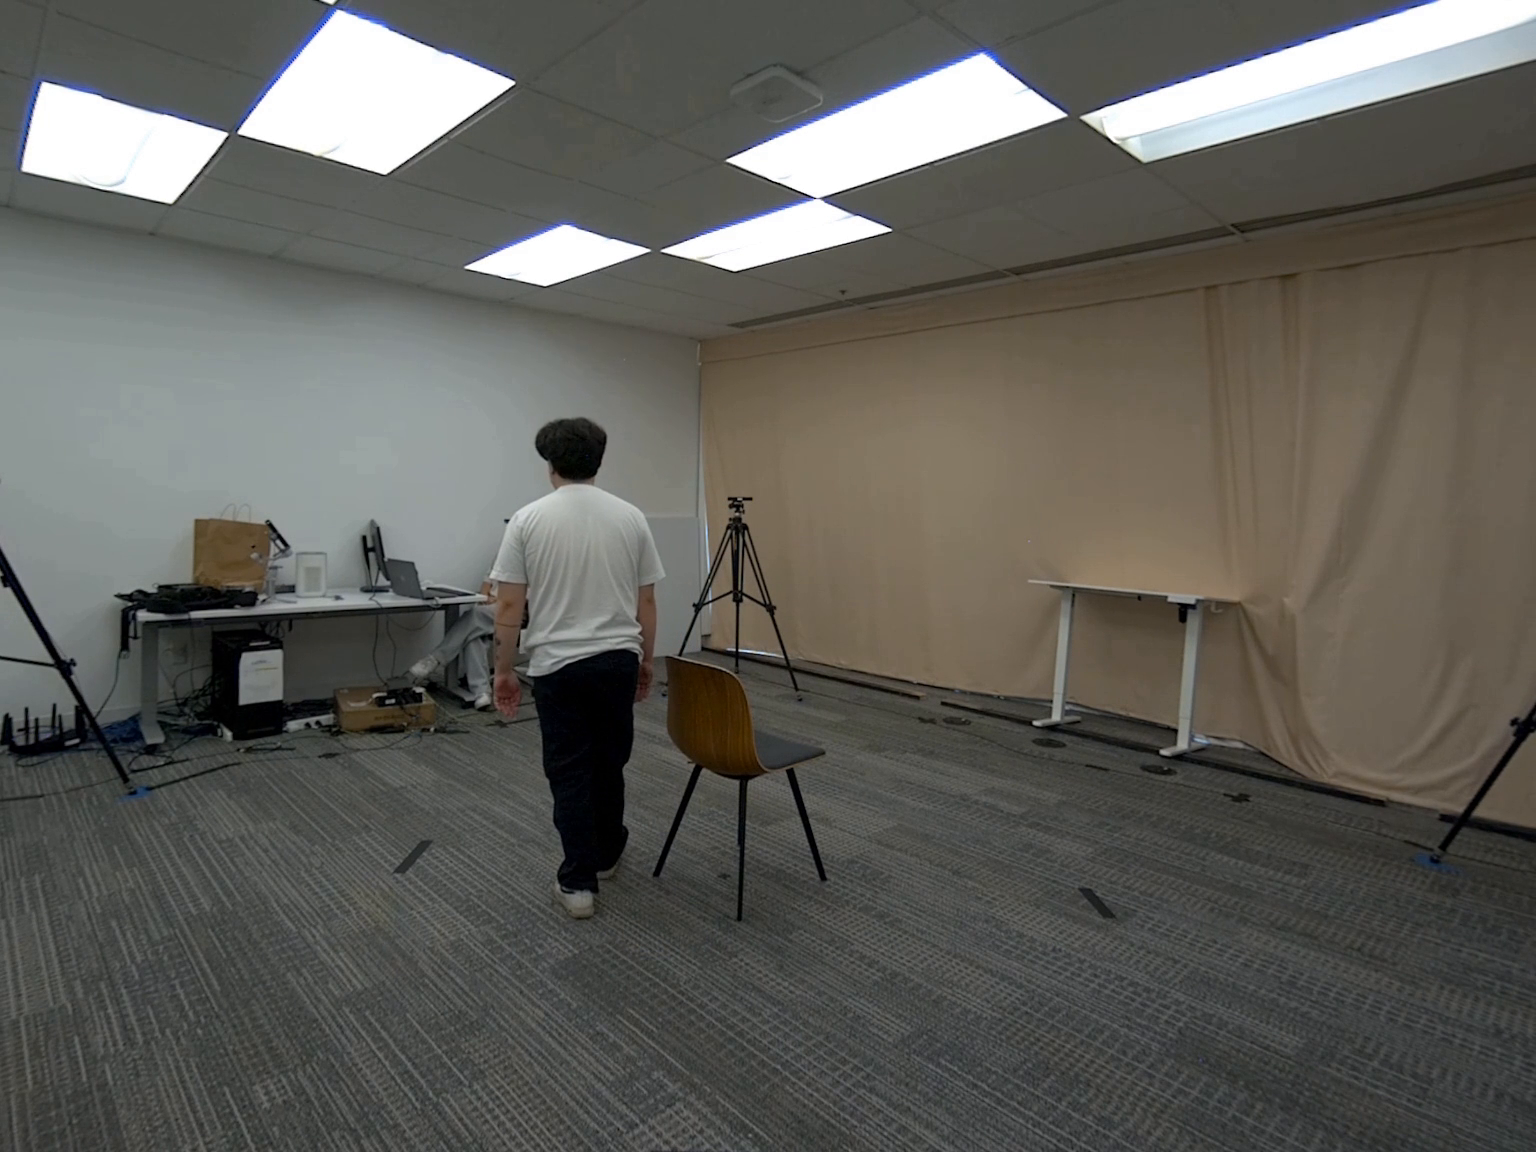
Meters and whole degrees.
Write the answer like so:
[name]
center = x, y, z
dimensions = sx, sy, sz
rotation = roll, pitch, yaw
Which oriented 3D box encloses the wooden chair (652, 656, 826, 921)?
[wooden chair]
center = -0.094, 0.683, 3.065
dimensions = 0.490, 0.873, 0.512
rotation = 5, 9, 44
